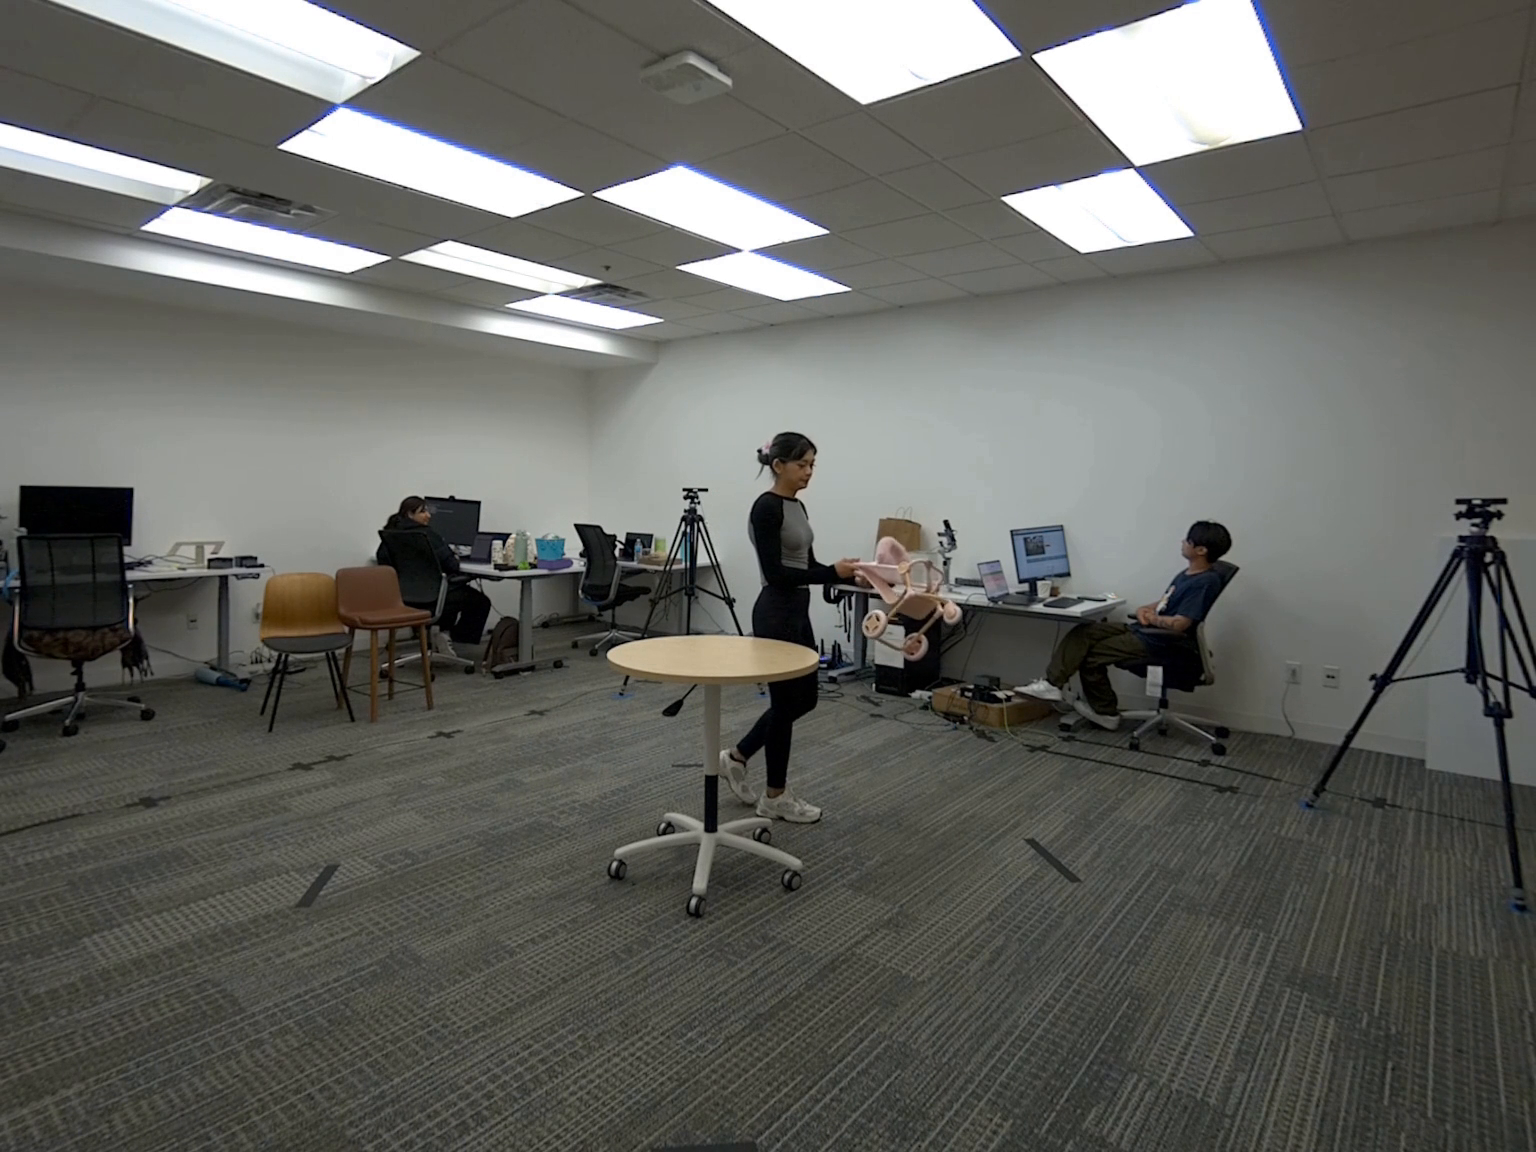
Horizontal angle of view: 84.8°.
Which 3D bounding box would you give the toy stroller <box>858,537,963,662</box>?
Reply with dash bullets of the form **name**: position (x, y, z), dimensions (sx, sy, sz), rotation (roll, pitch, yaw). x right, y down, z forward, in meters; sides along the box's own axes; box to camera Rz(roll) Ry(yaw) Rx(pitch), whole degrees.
- **toy stroller**: position (0.499, 0.047, 3.229), dimensions (0.271, 0.342, 0.555), rotation (25, 32, -35)
